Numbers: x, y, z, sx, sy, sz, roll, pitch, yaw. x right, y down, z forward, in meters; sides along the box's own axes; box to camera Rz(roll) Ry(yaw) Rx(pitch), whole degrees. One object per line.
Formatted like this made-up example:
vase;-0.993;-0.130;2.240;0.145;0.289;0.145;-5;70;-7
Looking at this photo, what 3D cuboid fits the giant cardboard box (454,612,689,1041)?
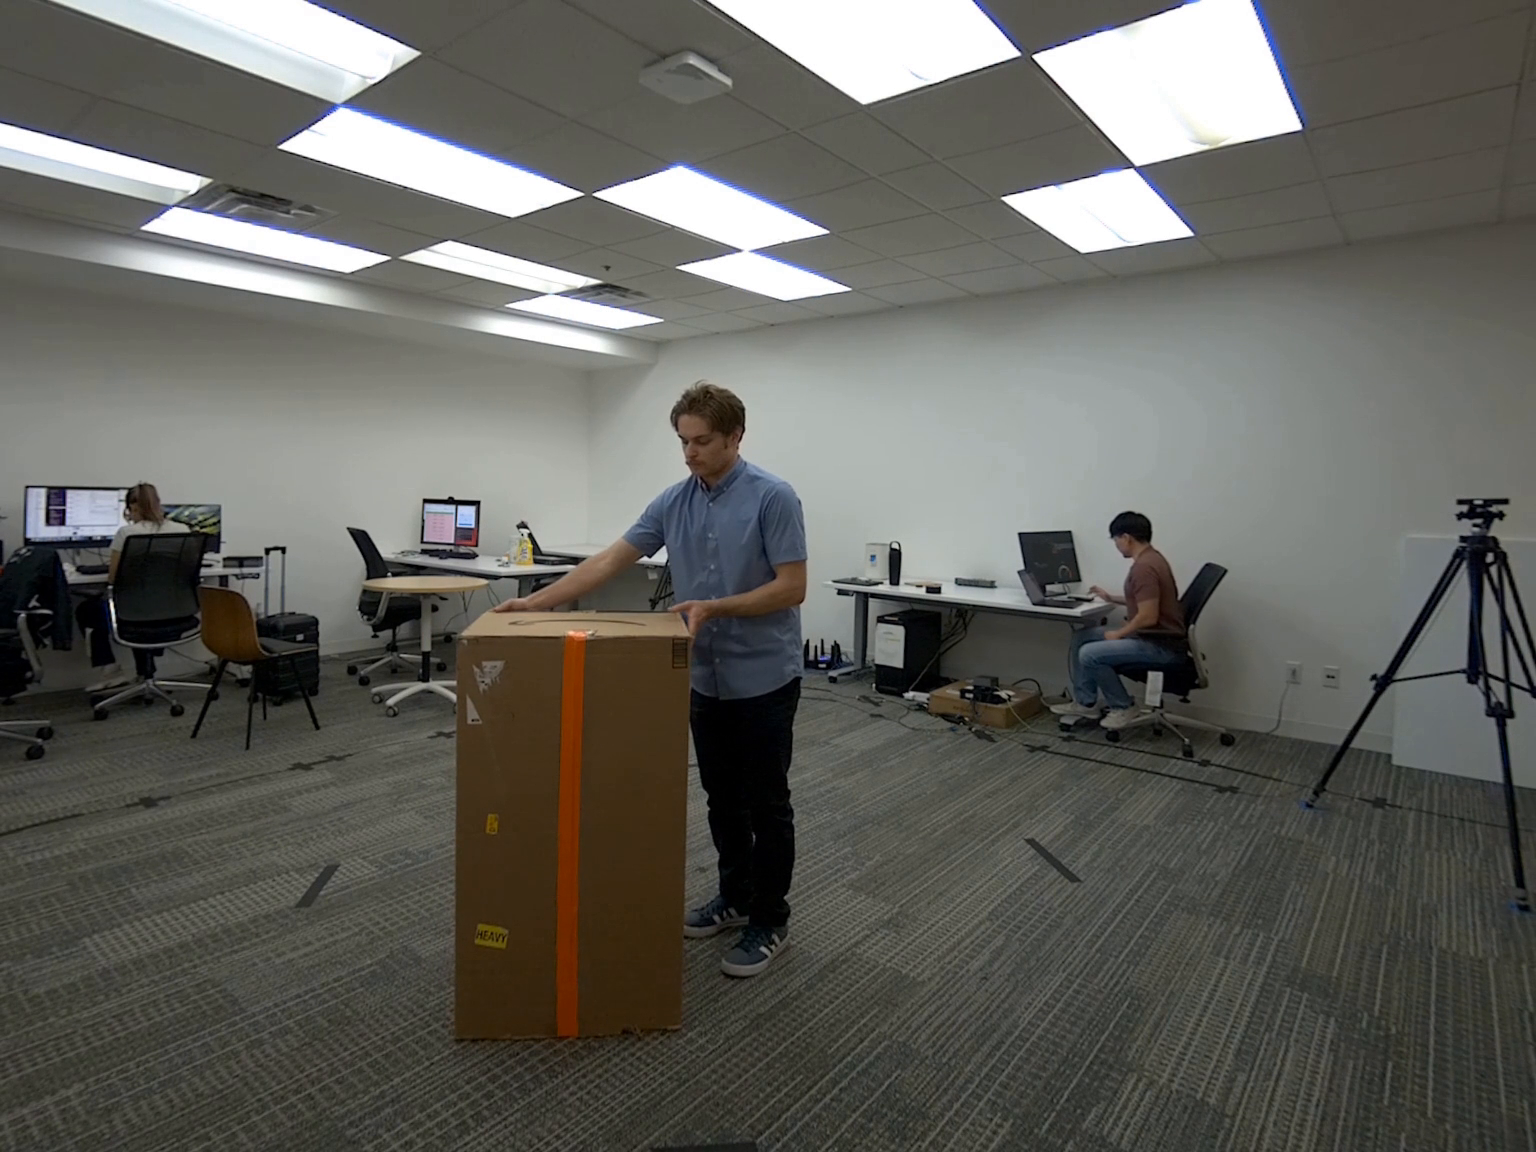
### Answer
giant cardboard box;-0.532;0.633;2.325;0.574;1.023;0.430;1;3;-6
